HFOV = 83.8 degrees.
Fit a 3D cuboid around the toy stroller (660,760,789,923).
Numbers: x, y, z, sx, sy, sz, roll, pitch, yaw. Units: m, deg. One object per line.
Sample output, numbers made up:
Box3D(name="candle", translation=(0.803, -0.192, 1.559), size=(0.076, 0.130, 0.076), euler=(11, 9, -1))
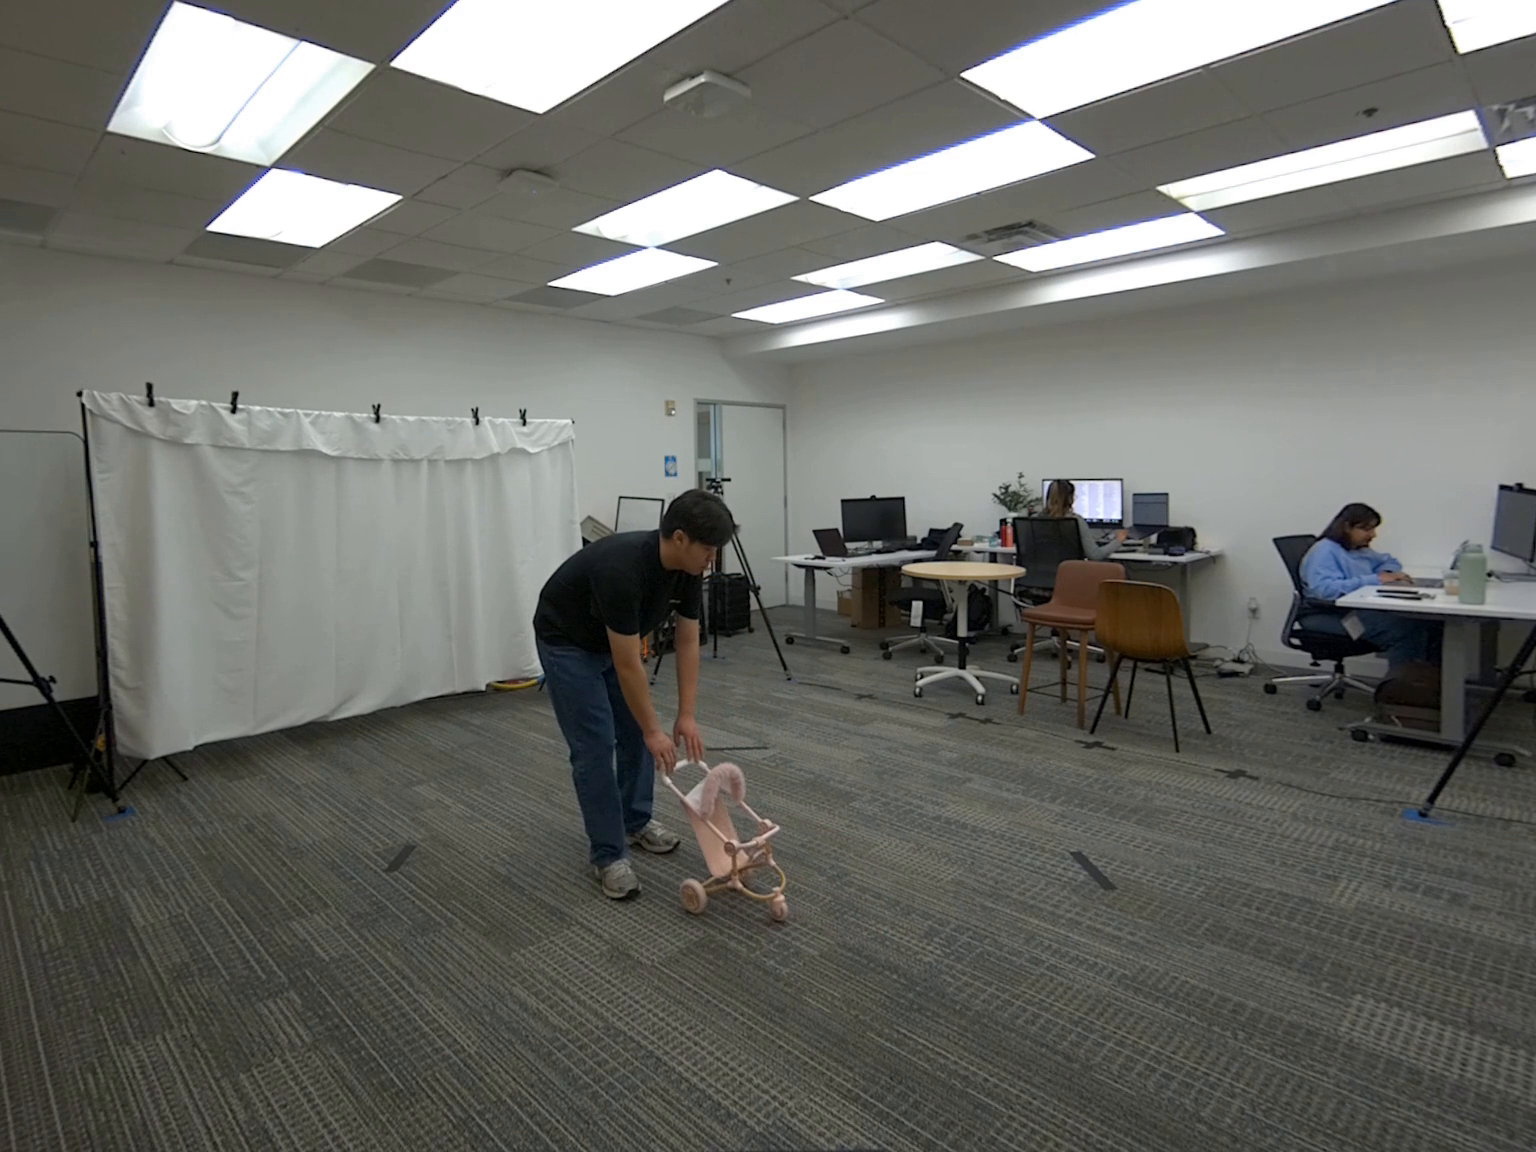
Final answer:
Box3D(name="toy stroller", translation=(-0.126, 0.853, 2.801), size=(0.347, 0.539, 0.274), euler=(-20, -9, 41))
